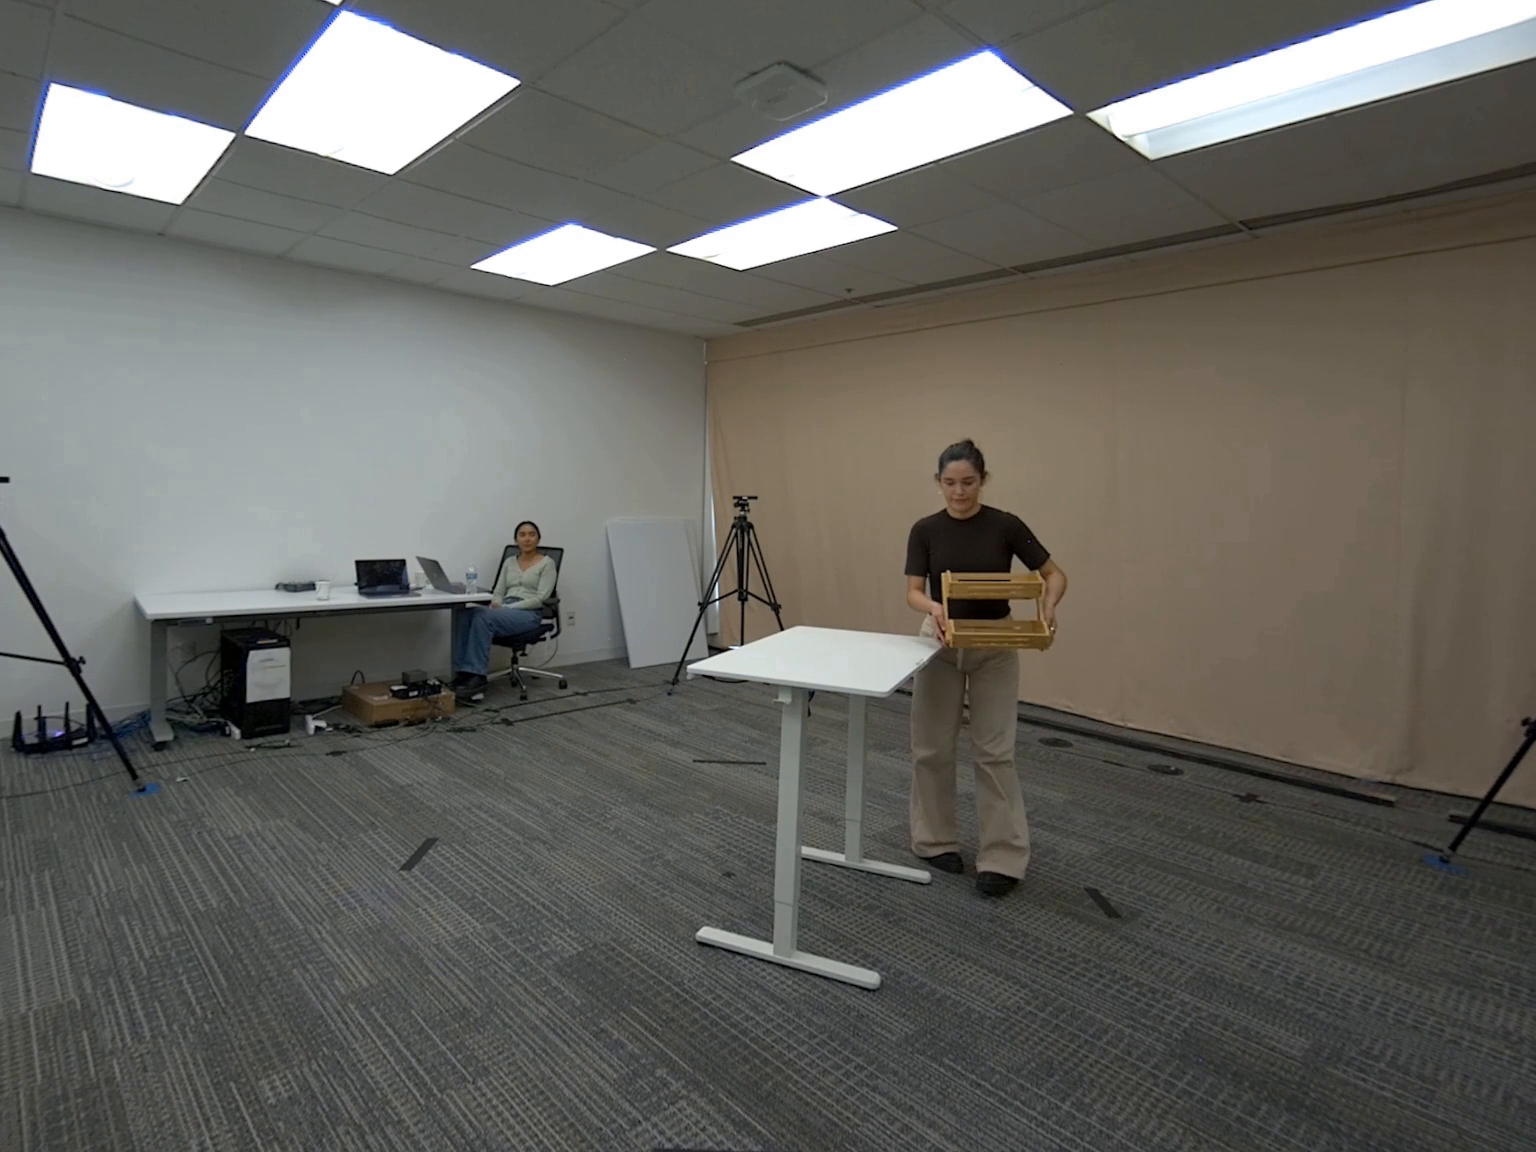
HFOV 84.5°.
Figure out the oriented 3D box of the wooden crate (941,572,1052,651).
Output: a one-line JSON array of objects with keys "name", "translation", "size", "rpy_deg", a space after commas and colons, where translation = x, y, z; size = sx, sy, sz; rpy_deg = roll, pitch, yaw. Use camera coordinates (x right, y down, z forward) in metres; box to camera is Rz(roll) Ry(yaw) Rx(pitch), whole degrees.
[{"name": "wooden crate", "translation": [0.766, 0.110, 2.866], "size": [0.326, 0.274, 0.299], "rpy_deg": [0, -5, 7]}]
